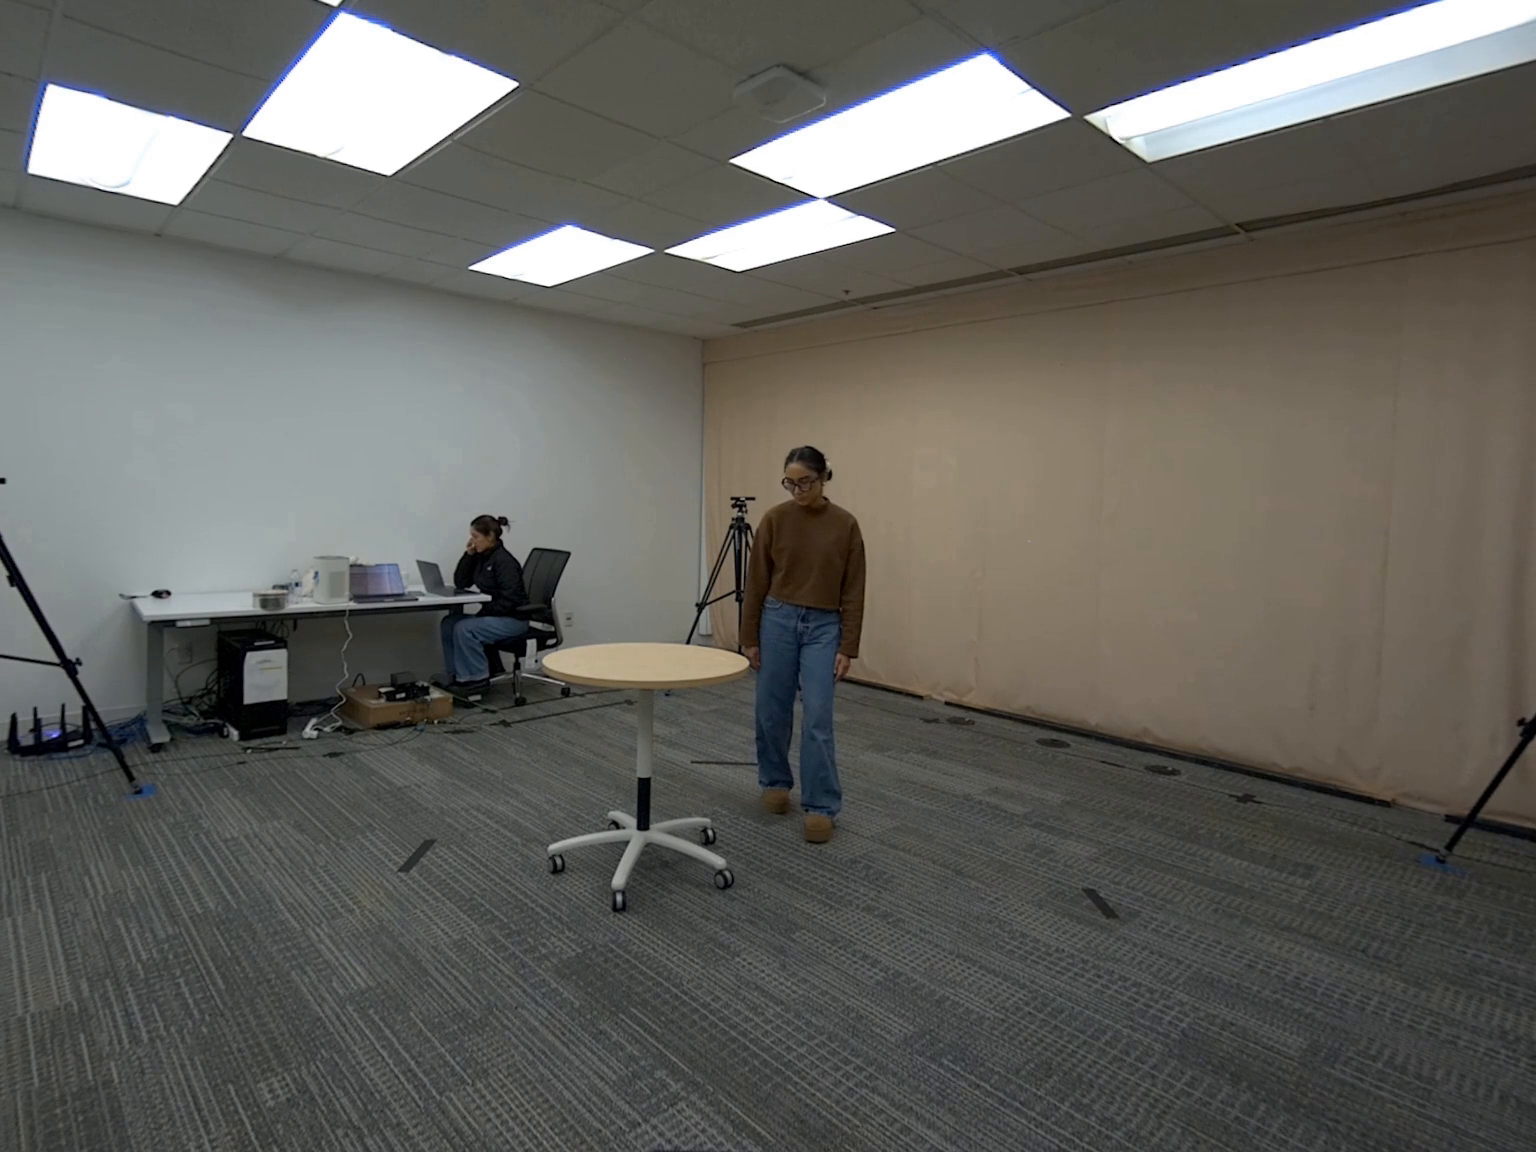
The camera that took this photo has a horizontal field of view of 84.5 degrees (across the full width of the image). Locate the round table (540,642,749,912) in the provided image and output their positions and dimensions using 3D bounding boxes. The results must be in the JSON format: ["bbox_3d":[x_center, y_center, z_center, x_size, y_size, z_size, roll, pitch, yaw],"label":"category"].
[{"bbox_3d":[-0.463,0.707,3.155,0.763,0.792,0.766,1,4,-1],"label":"round table"}]
